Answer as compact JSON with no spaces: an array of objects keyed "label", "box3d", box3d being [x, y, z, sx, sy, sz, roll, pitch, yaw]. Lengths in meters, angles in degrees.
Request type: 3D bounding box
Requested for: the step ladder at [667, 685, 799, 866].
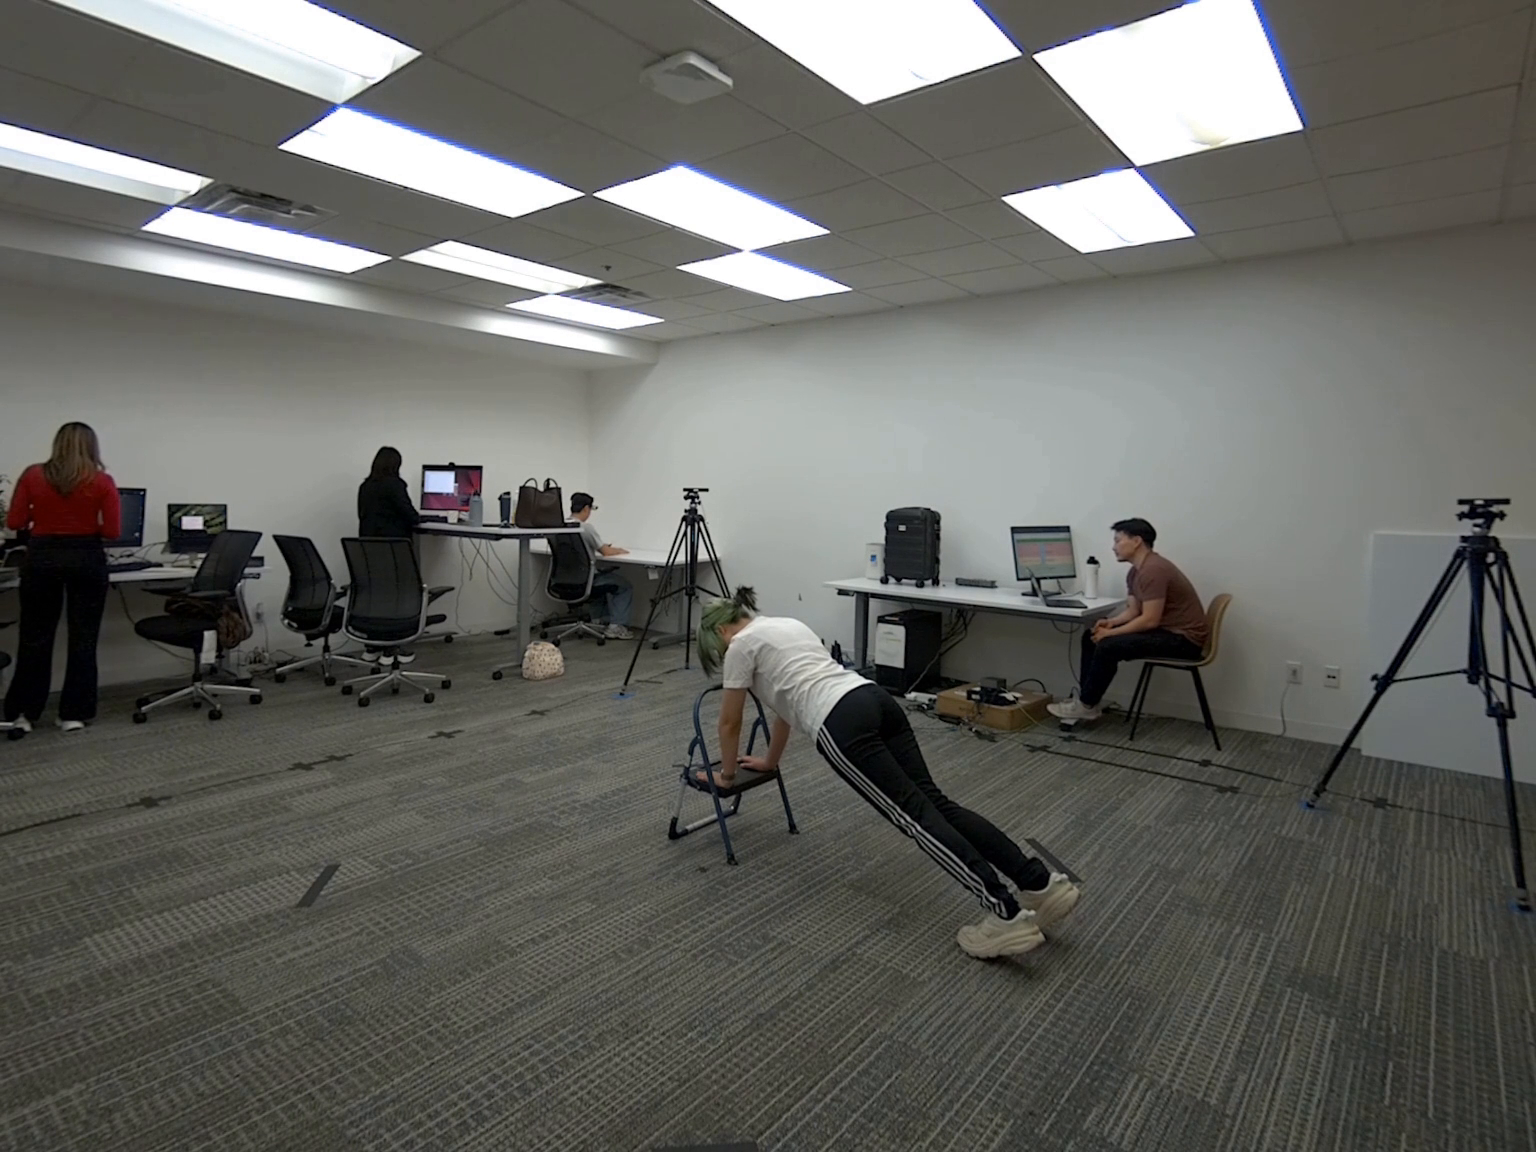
[{"label":"step ladder","box3d":[-0.143,0.740,3.403,0.361,0.604,0.418,4,4,38]}]
